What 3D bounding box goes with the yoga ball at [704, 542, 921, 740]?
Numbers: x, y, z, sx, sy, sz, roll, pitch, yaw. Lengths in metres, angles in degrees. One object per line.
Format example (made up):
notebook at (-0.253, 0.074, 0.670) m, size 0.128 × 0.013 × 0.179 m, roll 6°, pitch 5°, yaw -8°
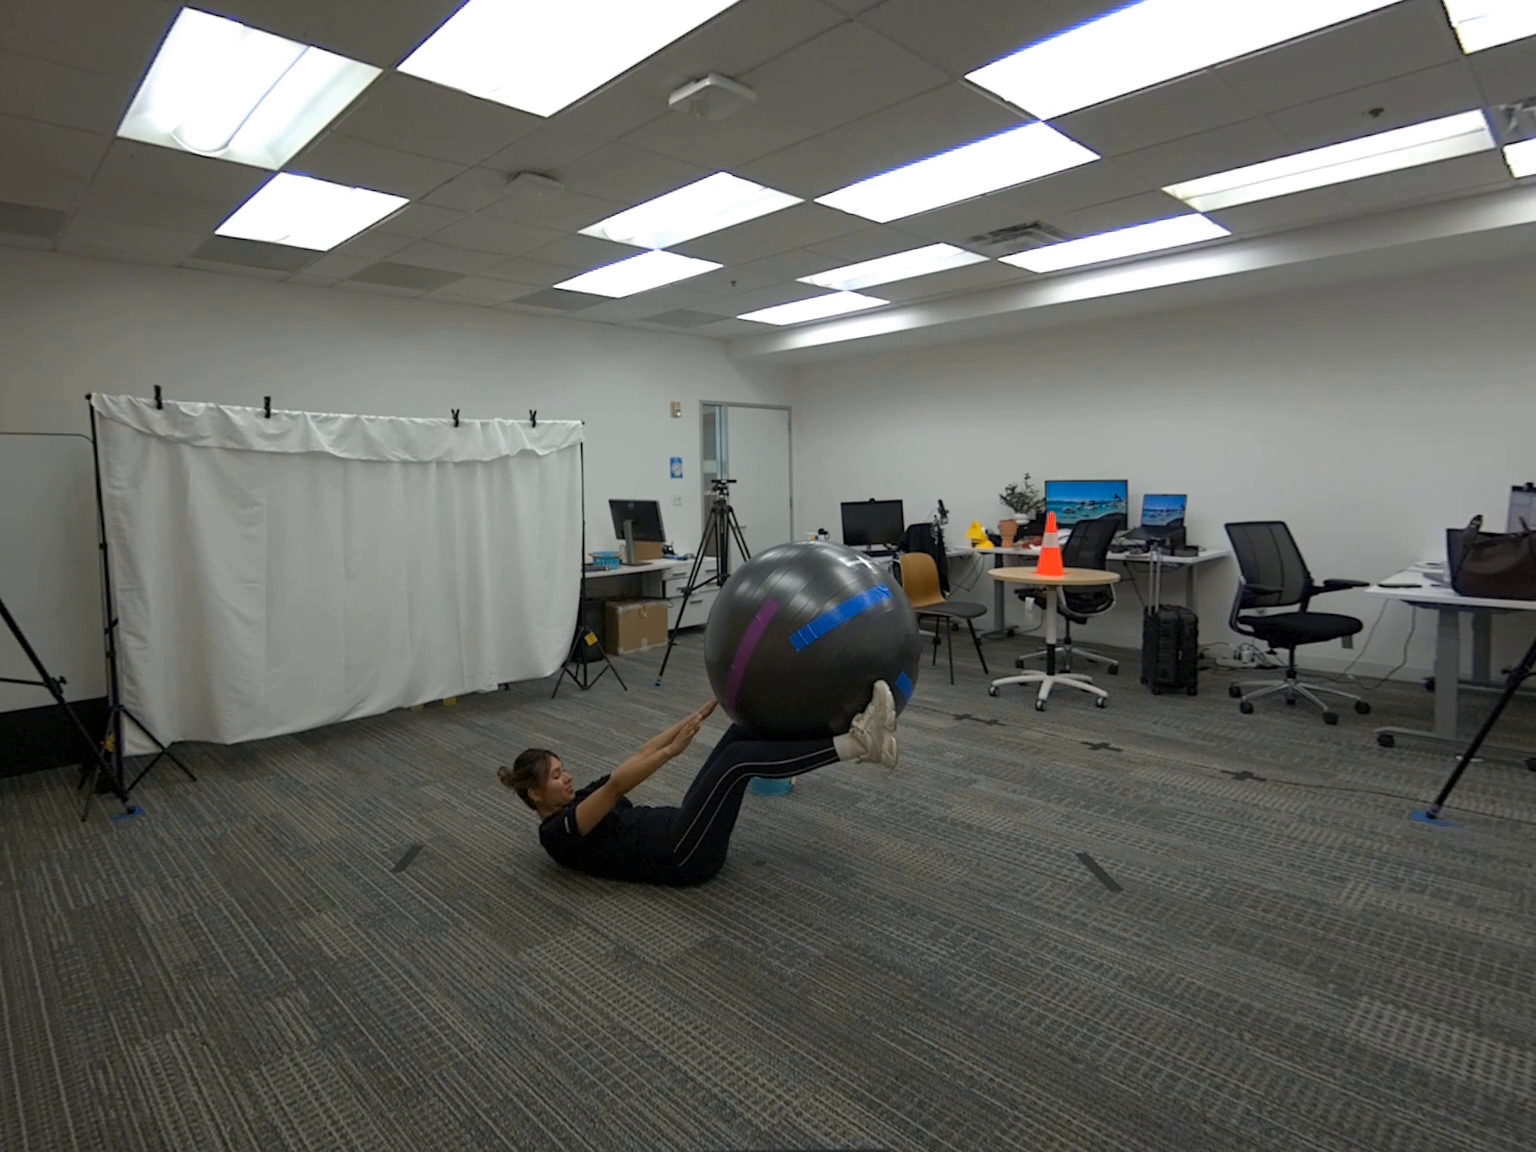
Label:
yoga ball at (0.149, 0.257, 3.005) m, size 0.757 × 0.755 × 0.762 m, roll -1°, pitch 5°, yaw -2°
